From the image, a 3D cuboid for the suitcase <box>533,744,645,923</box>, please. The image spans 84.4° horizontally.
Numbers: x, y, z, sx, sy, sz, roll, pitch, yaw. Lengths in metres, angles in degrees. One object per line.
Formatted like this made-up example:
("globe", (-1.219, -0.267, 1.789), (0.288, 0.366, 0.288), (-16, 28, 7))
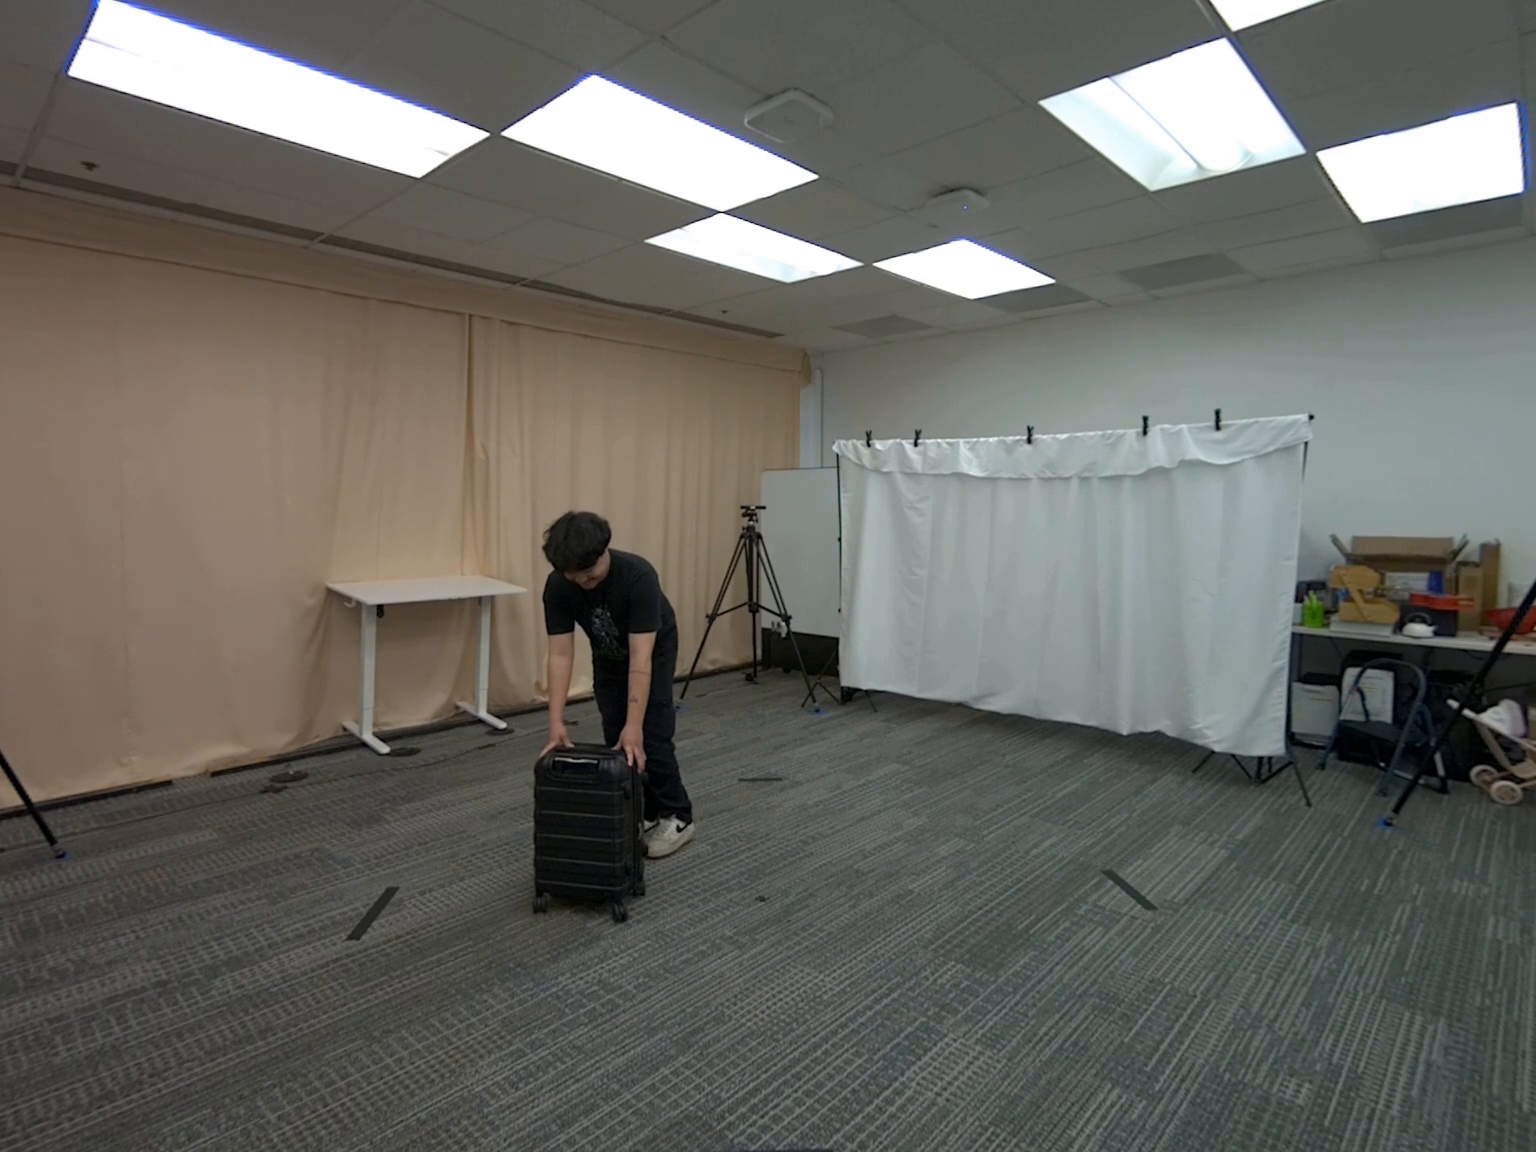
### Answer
("suitcase", (-0.634, 0.870, 2.982), (0.382, 0.549, 0.244), (0, 0, 15))
